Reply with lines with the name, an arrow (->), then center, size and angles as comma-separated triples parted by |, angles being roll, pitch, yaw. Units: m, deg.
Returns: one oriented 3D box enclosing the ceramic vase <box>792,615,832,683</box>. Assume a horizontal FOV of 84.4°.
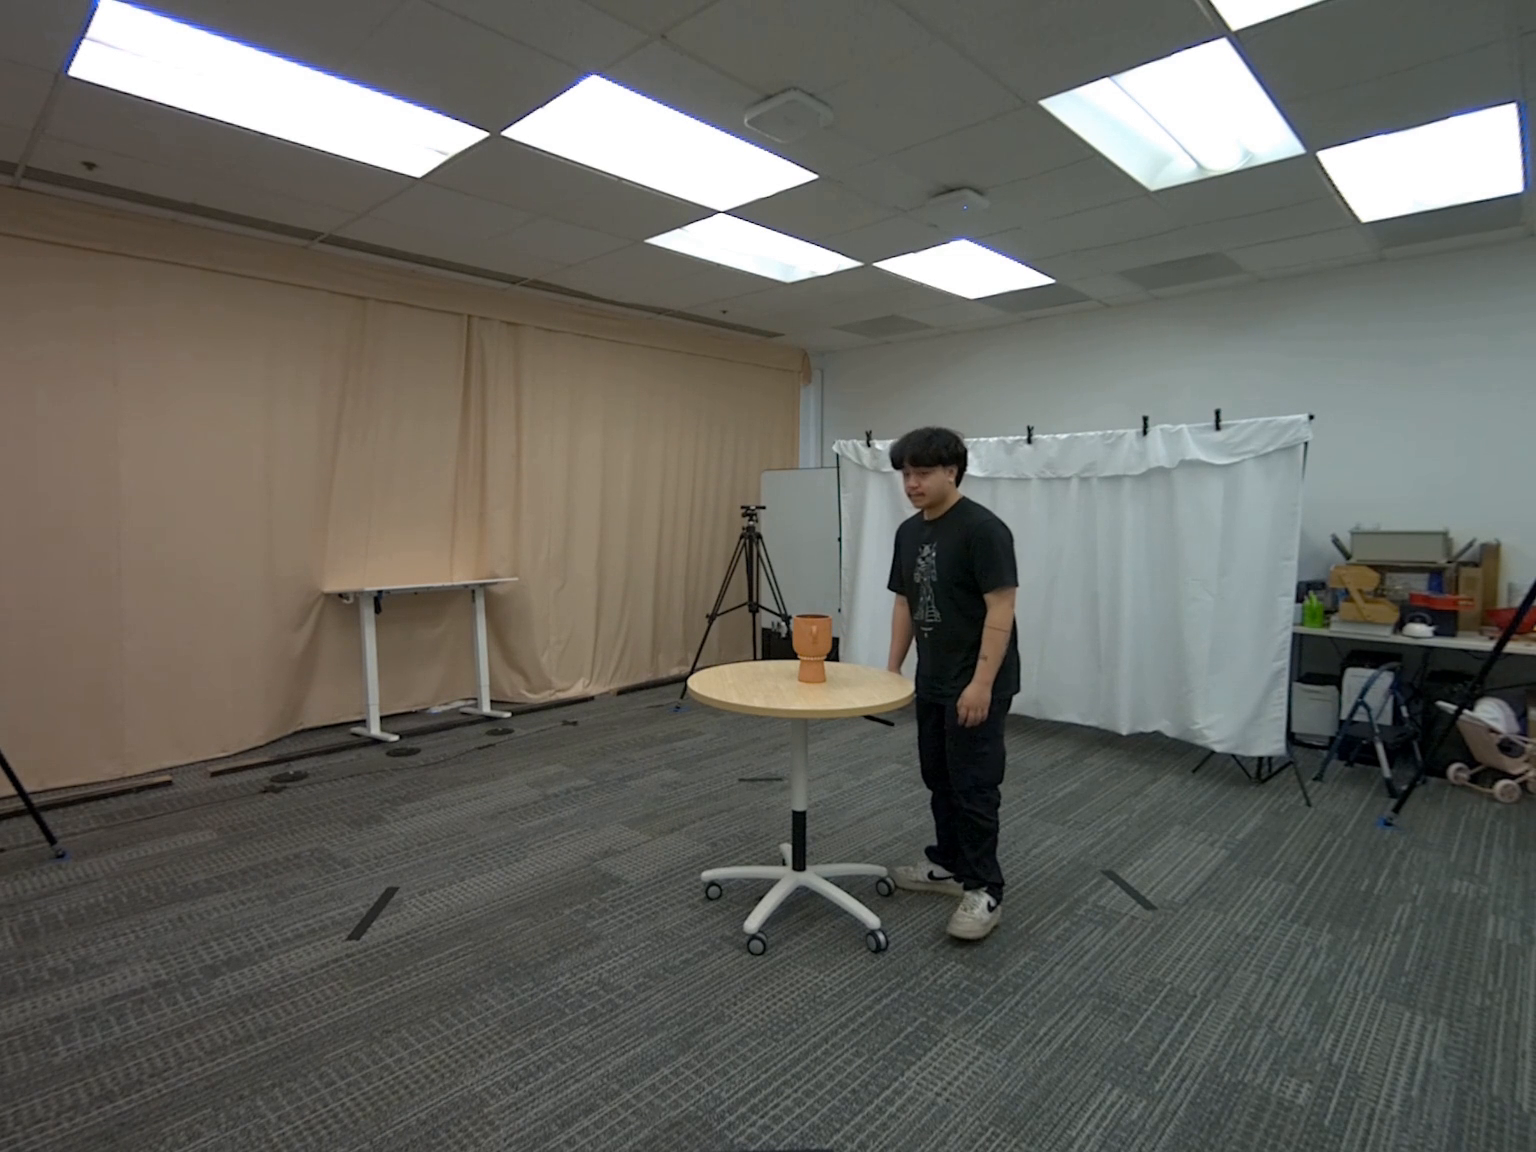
ceramic vase -> 0.162, 0.250, 2.881 | 0.139, 0.219, 0.154 | 3, 5, 38
